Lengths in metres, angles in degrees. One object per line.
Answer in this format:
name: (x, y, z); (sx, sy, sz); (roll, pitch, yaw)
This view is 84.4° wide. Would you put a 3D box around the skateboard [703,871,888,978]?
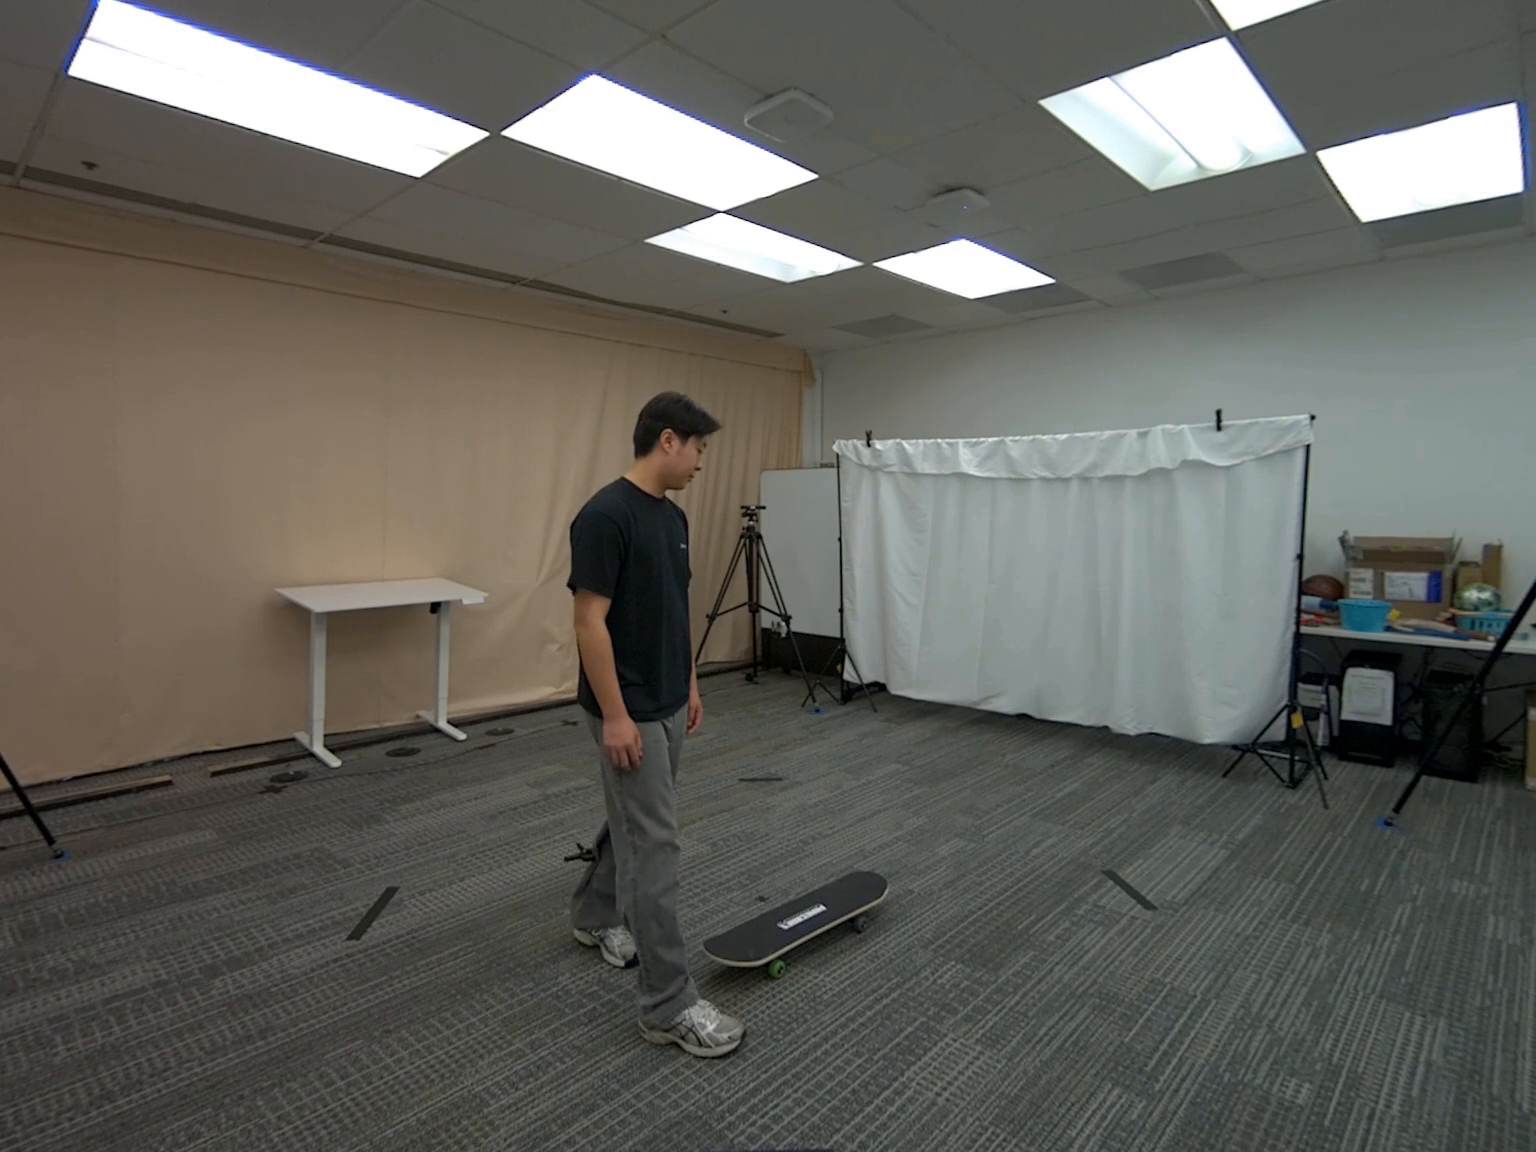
skateboard: (0.109, 1.115, 2.672); (0.761, 0.110, 0.200); (-4, 6, -44)
